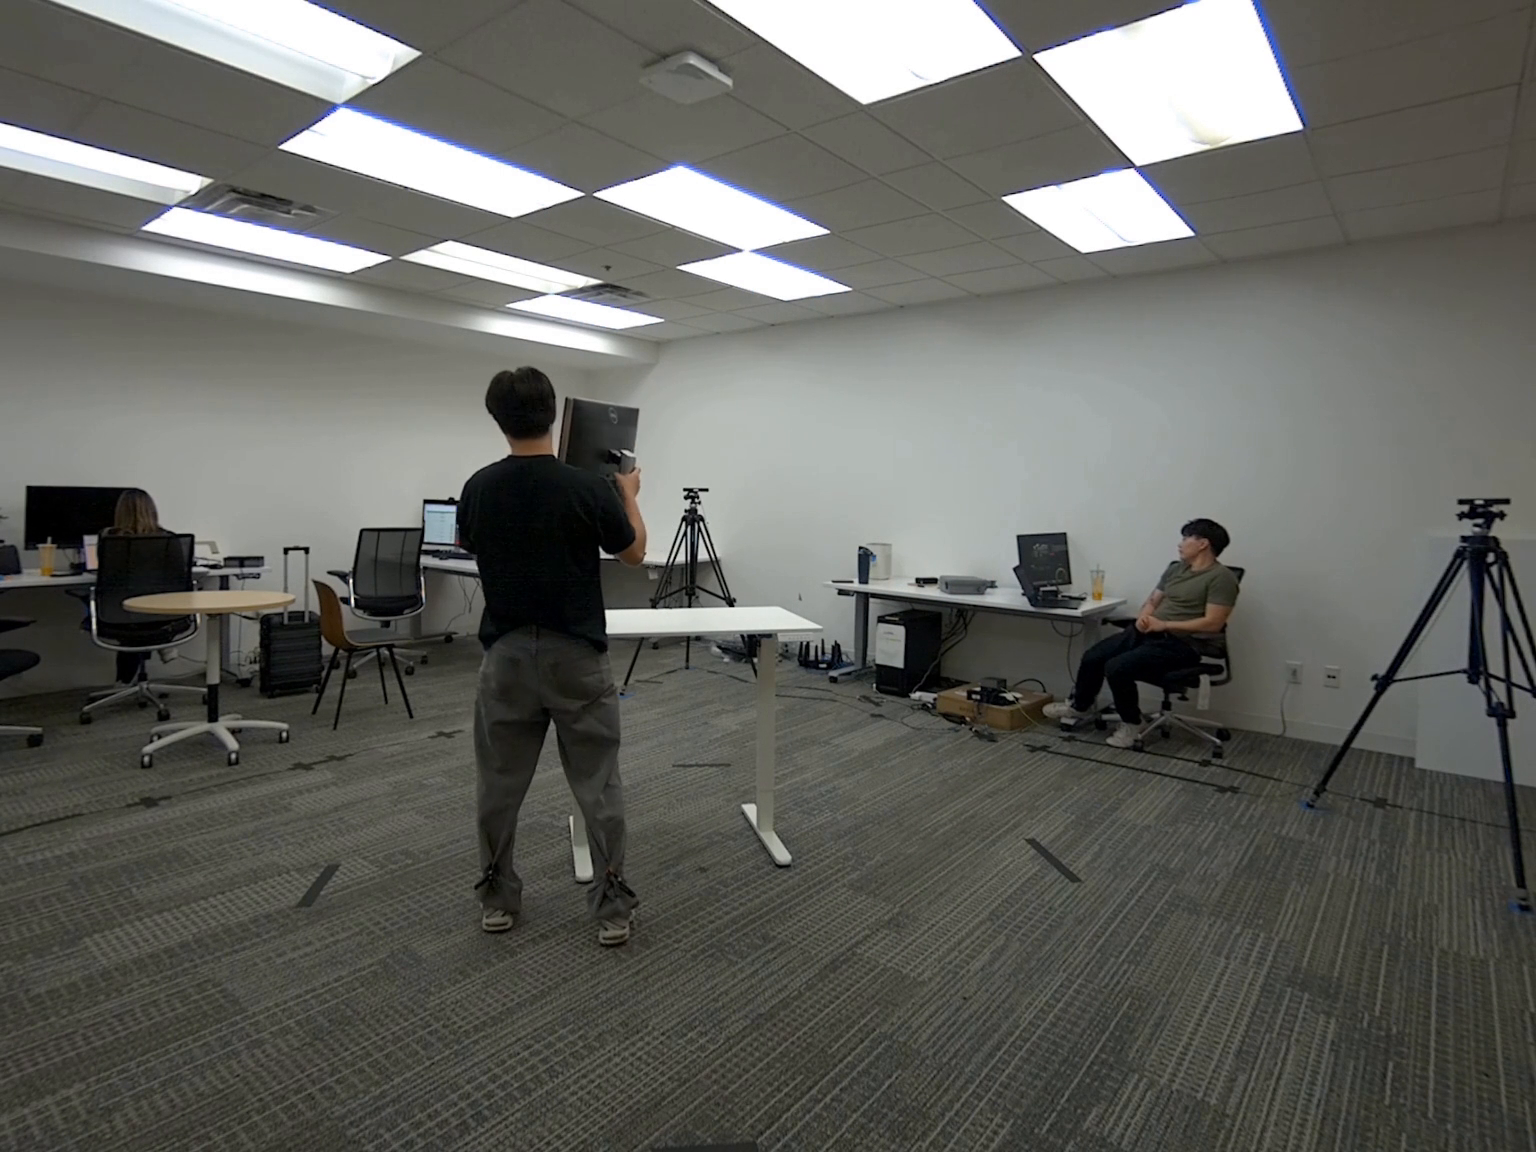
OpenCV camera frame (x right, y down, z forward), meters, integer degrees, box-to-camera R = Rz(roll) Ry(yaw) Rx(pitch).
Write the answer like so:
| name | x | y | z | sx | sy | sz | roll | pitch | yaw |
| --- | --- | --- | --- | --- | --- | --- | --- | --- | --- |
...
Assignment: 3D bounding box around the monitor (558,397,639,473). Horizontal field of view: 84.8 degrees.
| name | x | y | z | sx | sy | sz | roll | pitch | yaw |
| --- | --- | --- | --- | --- | --- | --- | --- | --- | --- |
| monitor | -0.565 | -0.318 | 2.943 | 0.226 | 0.564 | 0.553 | -3 | 4 | 18 |
